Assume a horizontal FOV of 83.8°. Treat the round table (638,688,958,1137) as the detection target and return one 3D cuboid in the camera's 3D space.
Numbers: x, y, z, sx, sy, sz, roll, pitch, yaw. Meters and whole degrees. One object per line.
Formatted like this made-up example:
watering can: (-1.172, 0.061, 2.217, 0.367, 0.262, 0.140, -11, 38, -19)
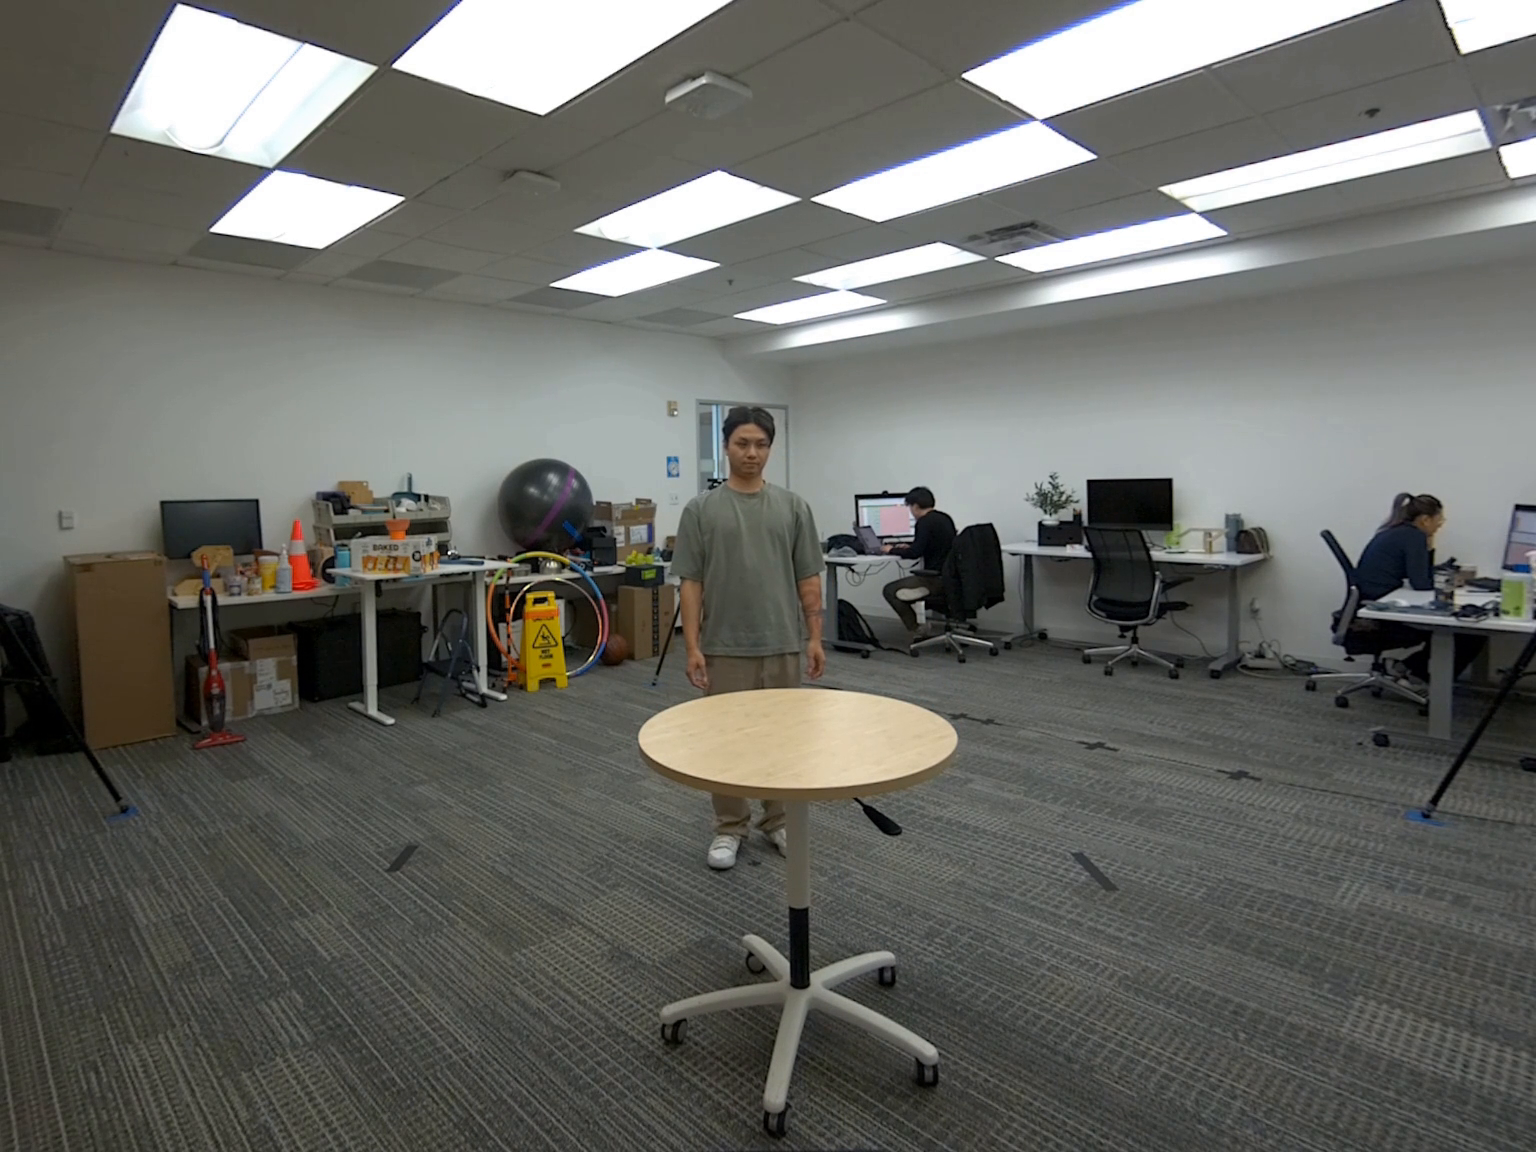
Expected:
round table: (0.068, 0.769, 2.115, 0.784, 0.783, 0.789, -1, 5, -2)
